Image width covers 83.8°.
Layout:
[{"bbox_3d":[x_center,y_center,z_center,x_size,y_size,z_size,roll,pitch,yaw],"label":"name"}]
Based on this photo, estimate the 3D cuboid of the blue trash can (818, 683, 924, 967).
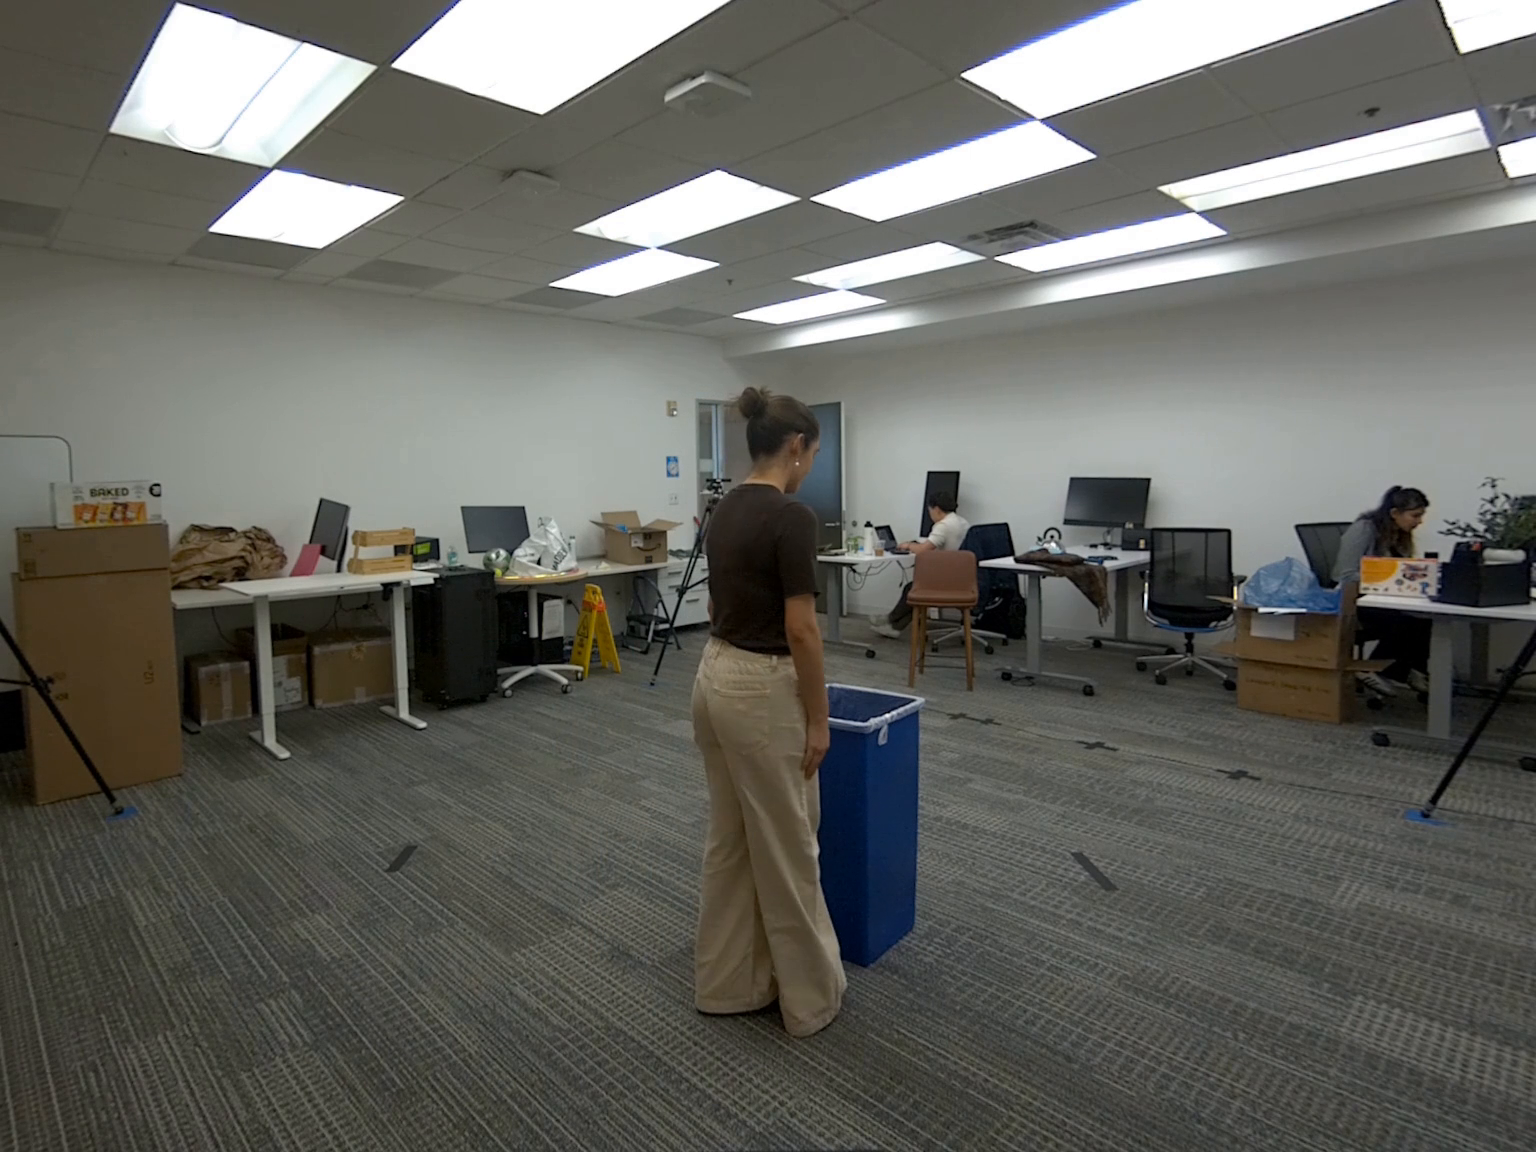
[{"bbox_3d":[0.243,0.736,2.616,0.385,0.711,0.368,3,5,39],"label":"blue trash can"}]
